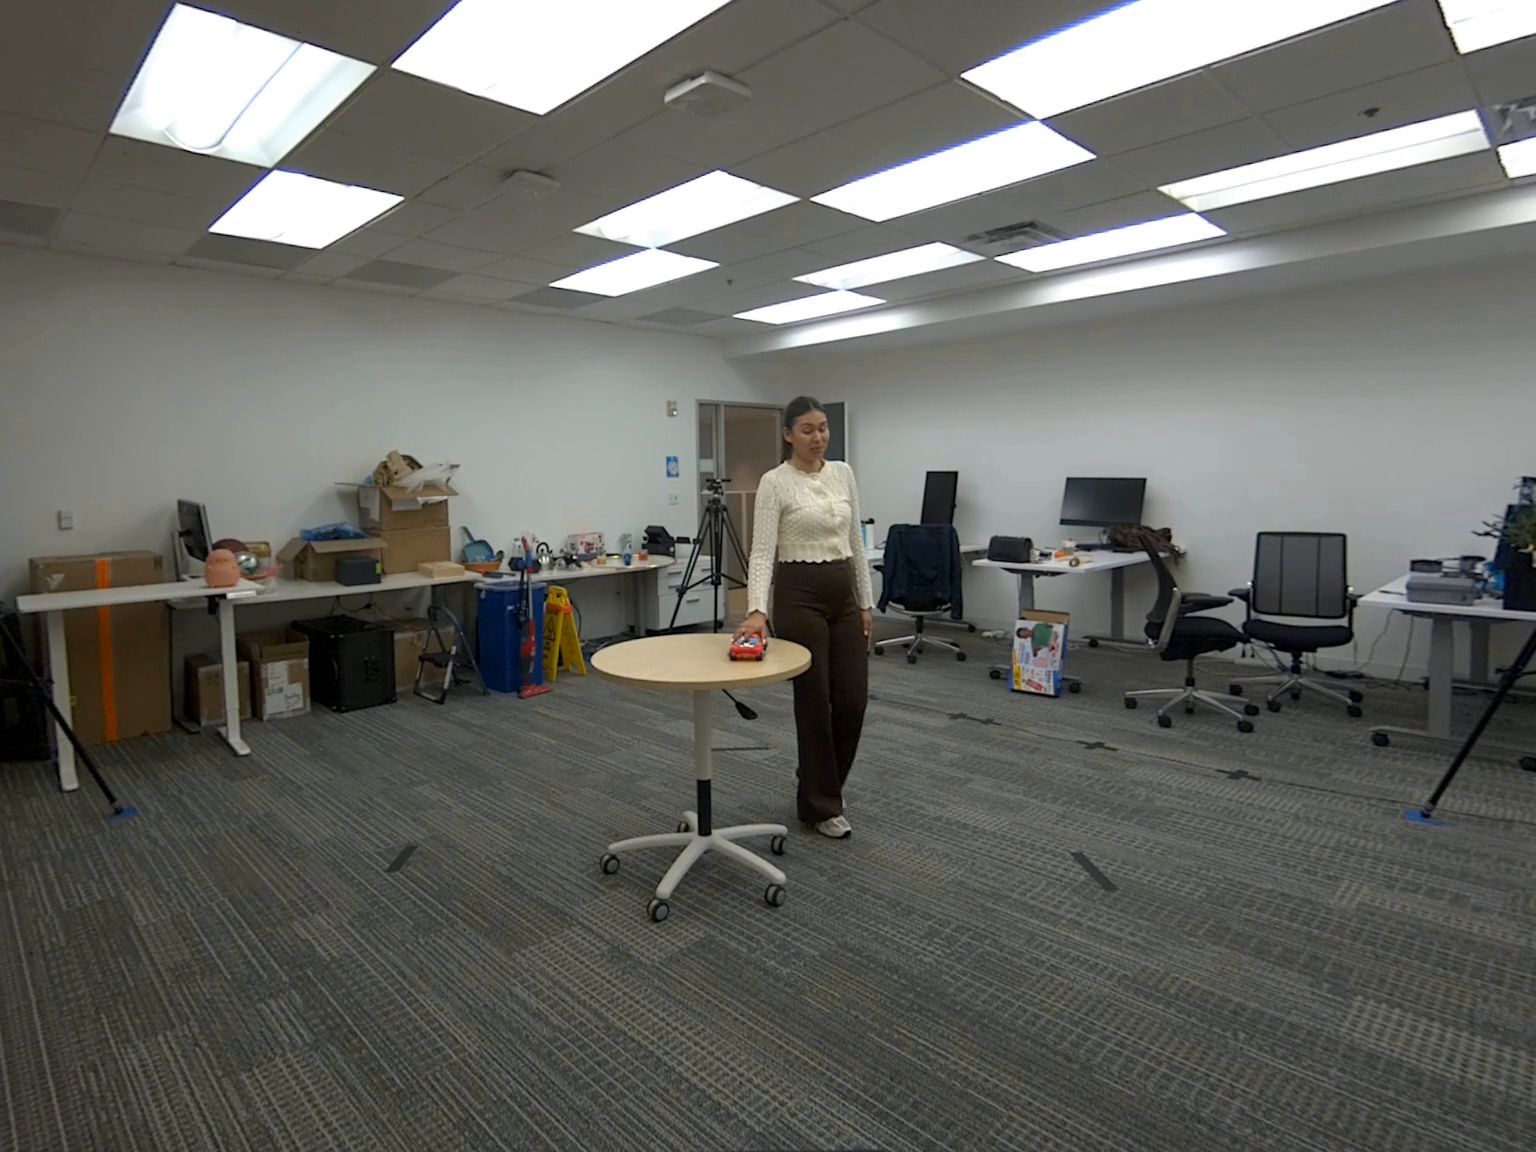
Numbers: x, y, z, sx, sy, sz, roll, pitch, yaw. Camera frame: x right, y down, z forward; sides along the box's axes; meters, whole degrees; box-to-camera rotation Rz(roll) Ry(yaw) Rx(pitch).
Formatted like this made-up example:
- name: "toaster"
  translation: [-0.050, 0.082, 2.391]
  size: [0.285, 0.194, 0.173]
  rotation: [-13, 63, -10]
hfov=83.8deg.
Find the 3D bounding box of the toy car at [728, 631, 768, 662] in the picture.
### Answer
- name: "toy car"
  translation: [-0.065, 0.239, 2.987]
  size: [0.131, 0.082, 0.257]
  rotation: [0, 18, 4]
